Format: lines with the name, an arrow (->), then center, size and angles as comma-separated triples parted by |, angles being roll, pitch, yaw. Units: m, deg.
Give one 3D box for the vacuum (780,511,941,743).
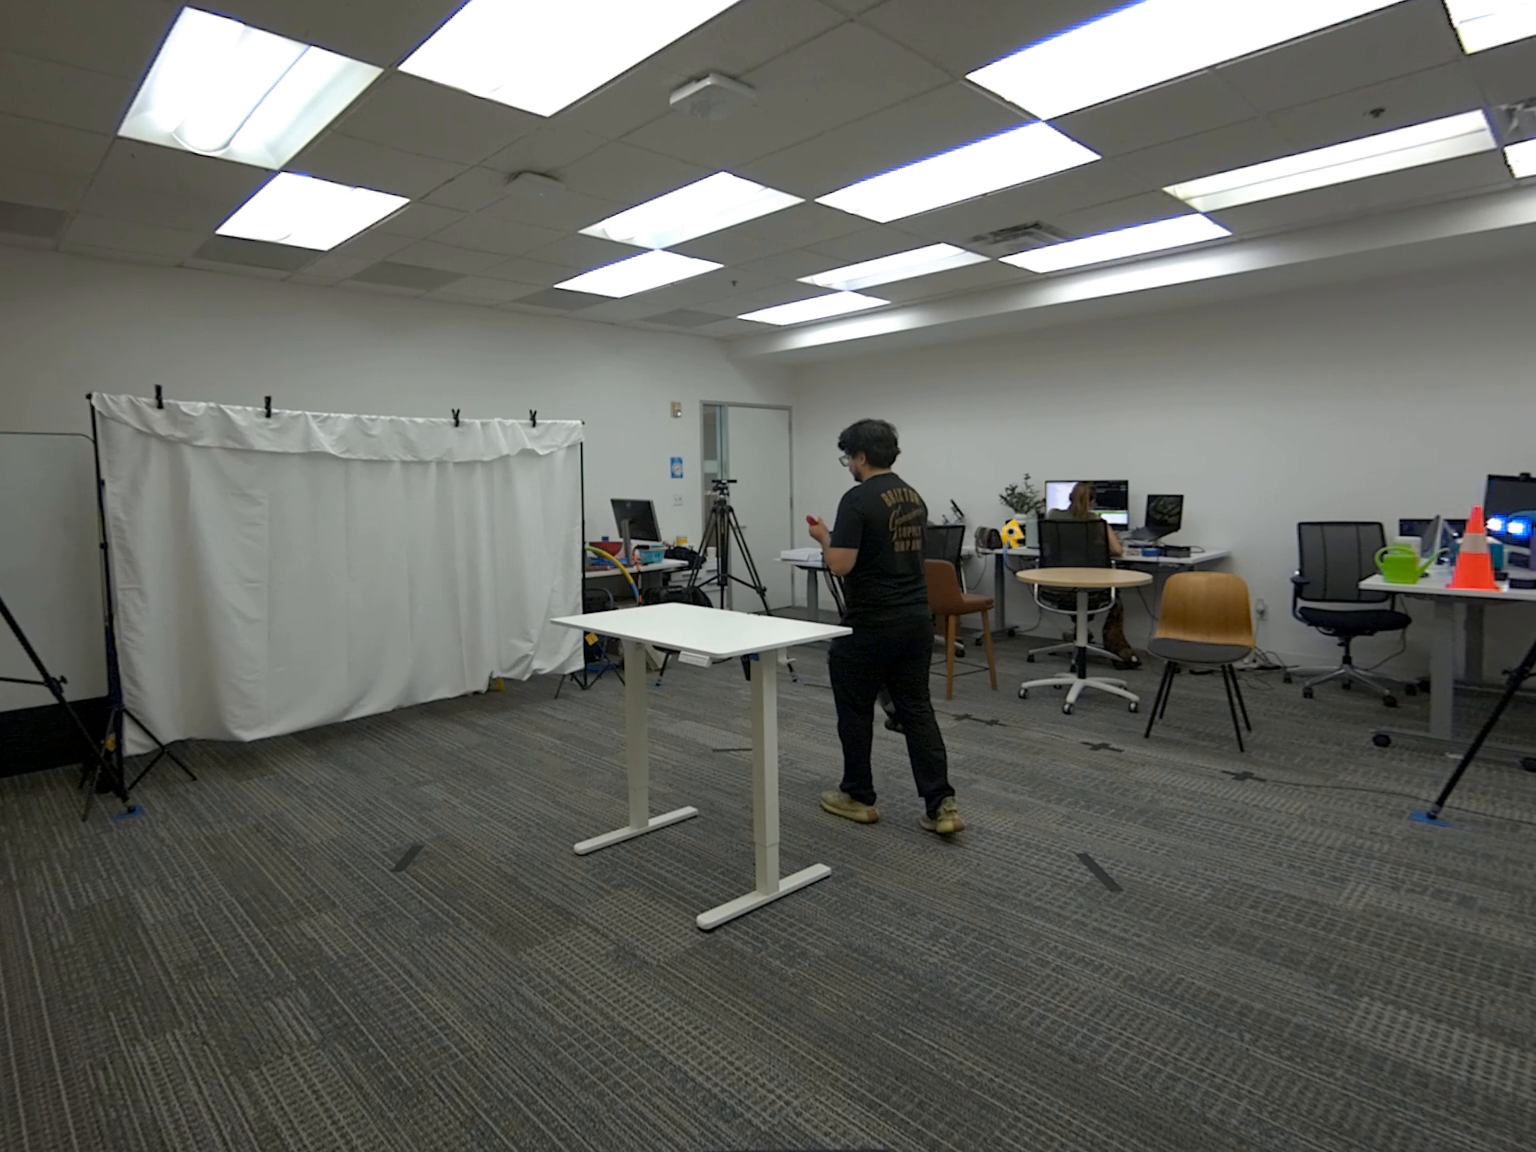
vacuum -> 0.395, 0.225, 3.662 | 0.143, 1.034, 0.258 | -33, 13, -27
